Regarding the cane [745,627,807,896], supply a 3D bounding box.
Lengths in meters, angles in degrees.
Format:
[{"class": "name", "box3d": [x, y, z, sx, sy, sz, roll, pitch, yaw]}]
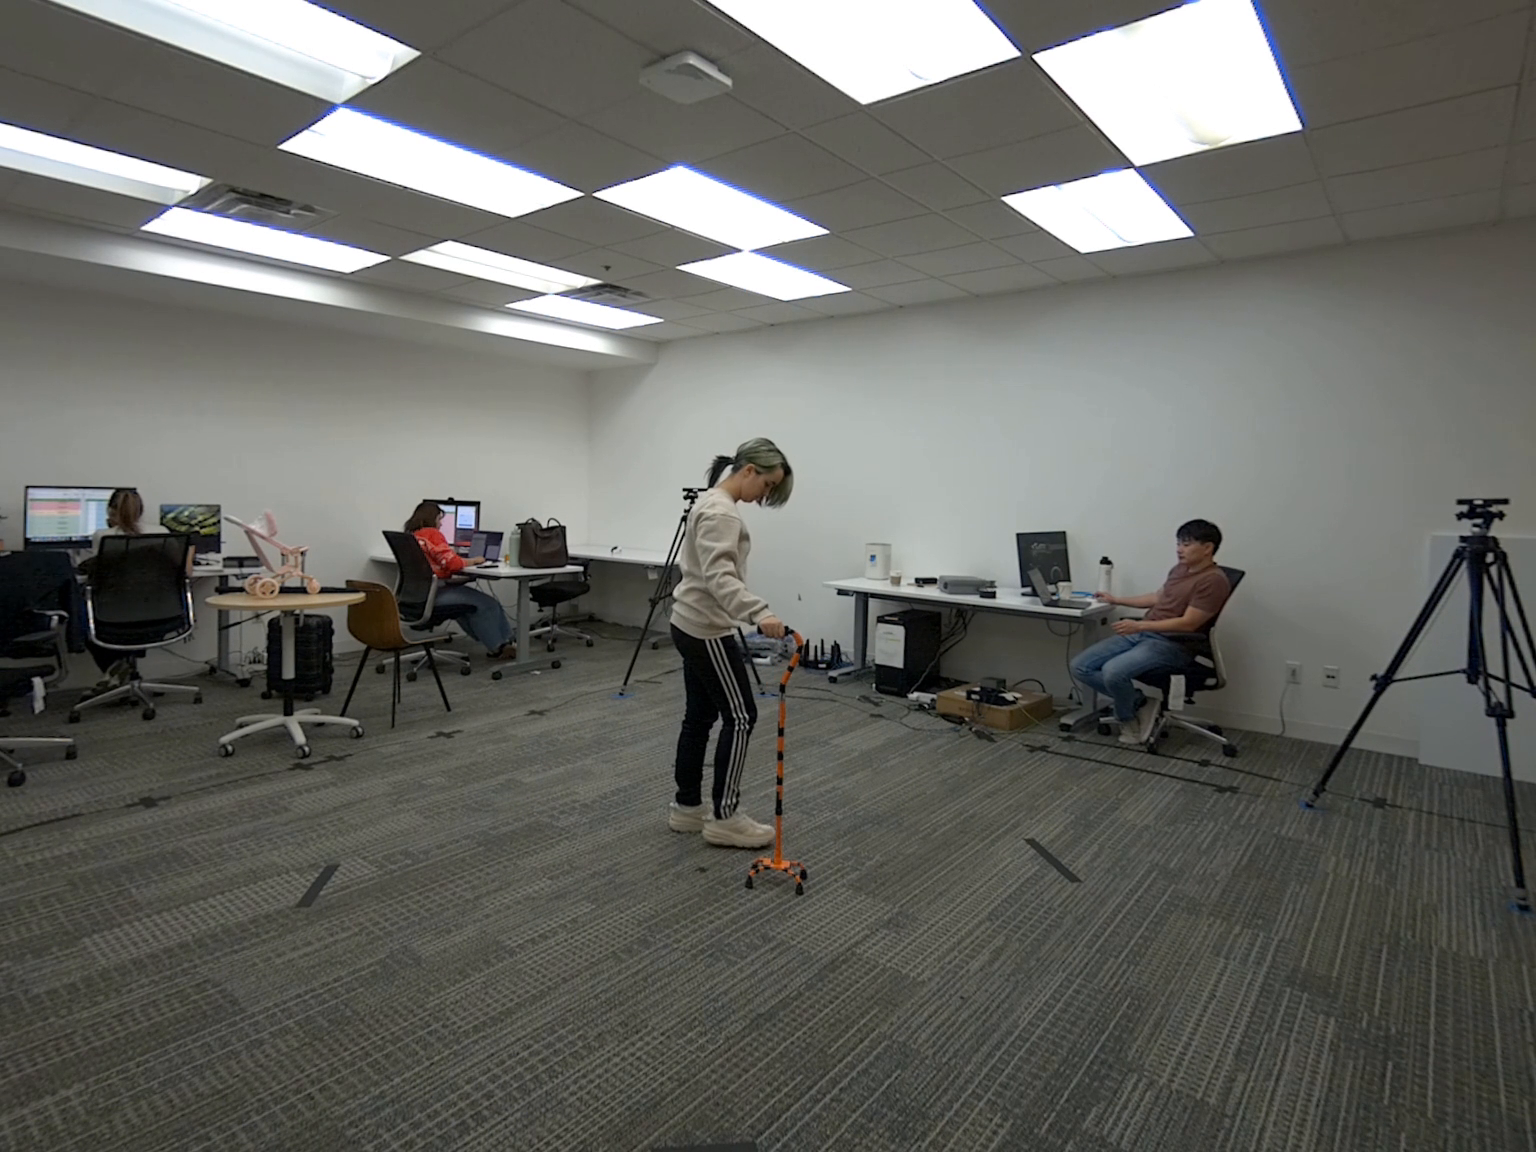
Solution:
[{"class": "cane", "box3d": [0.035, 0.628, 3.000, 0.209, 0.906, 0.150, 2, 2, 9]}]
